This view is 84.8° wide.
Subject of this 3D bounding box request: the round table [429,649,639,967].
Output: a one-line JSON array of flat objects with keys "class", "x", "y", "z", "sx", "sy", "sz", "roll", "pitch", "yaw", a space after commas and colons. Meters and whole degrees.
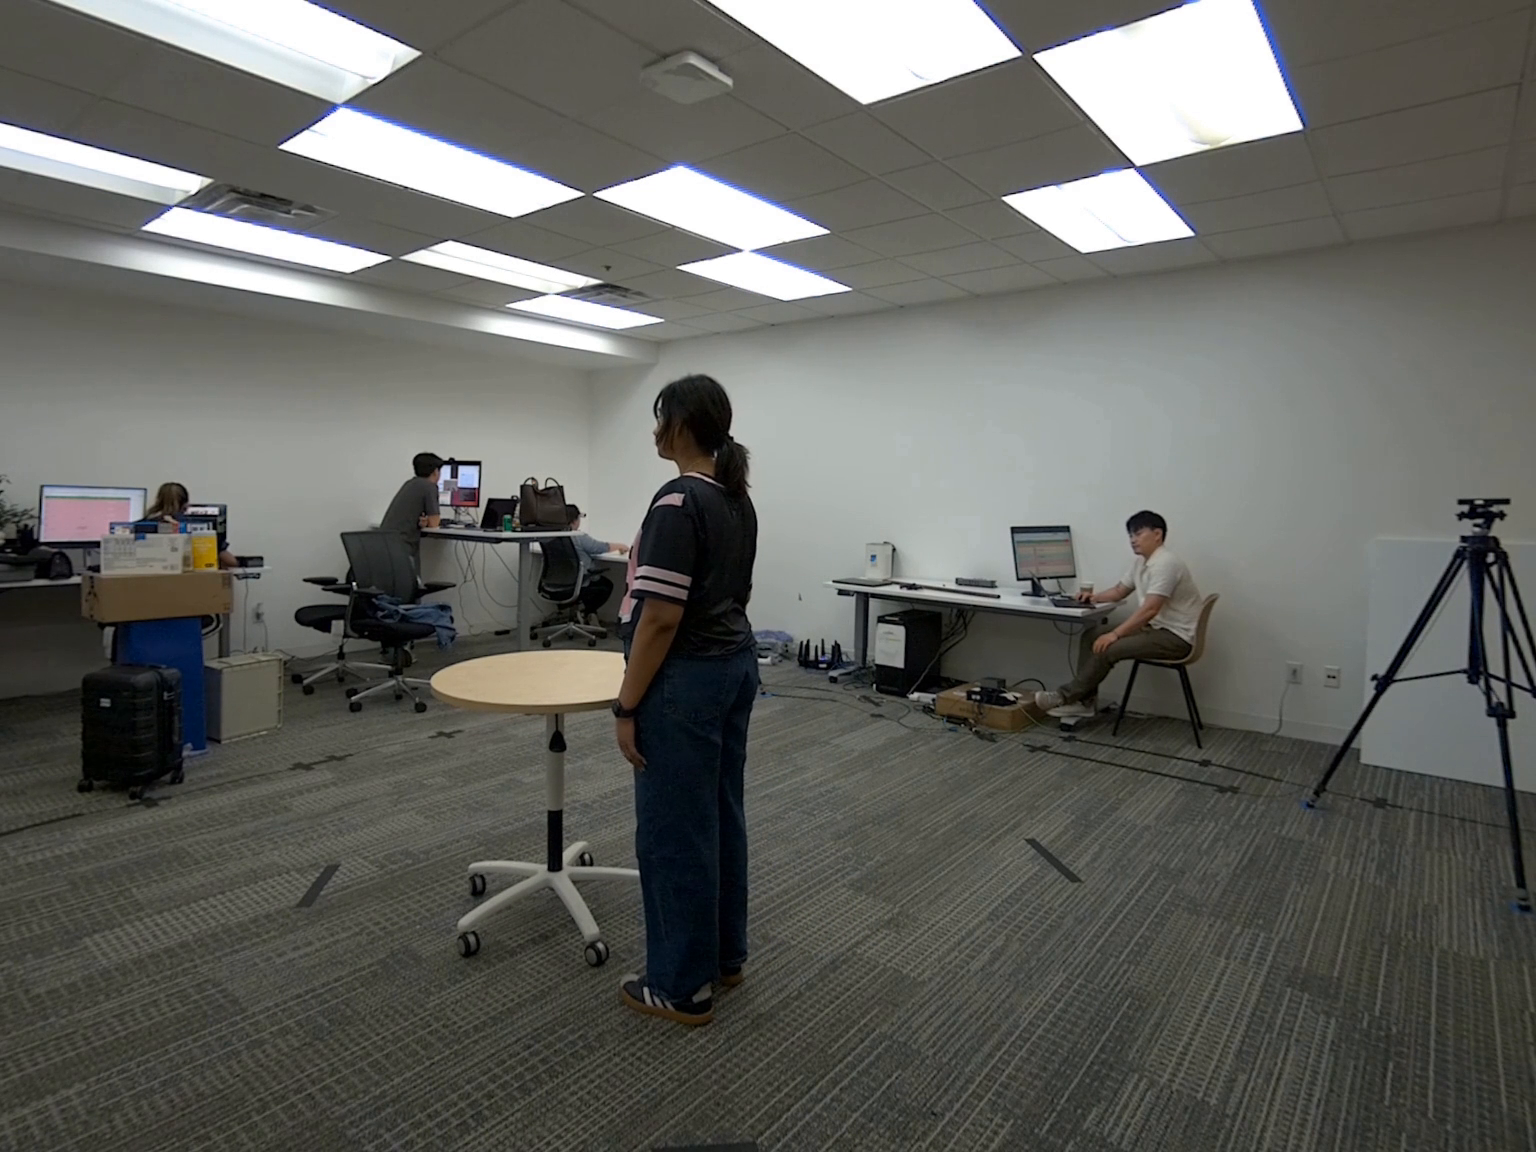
[{"class": "round table", "x": -0.701, "y": 0.707, "z": 2.761, "sx": 0.763, "sy": 0.791, "sz": 0.768, "roll": 0, "pitch": 5, "yaw": -2}]
